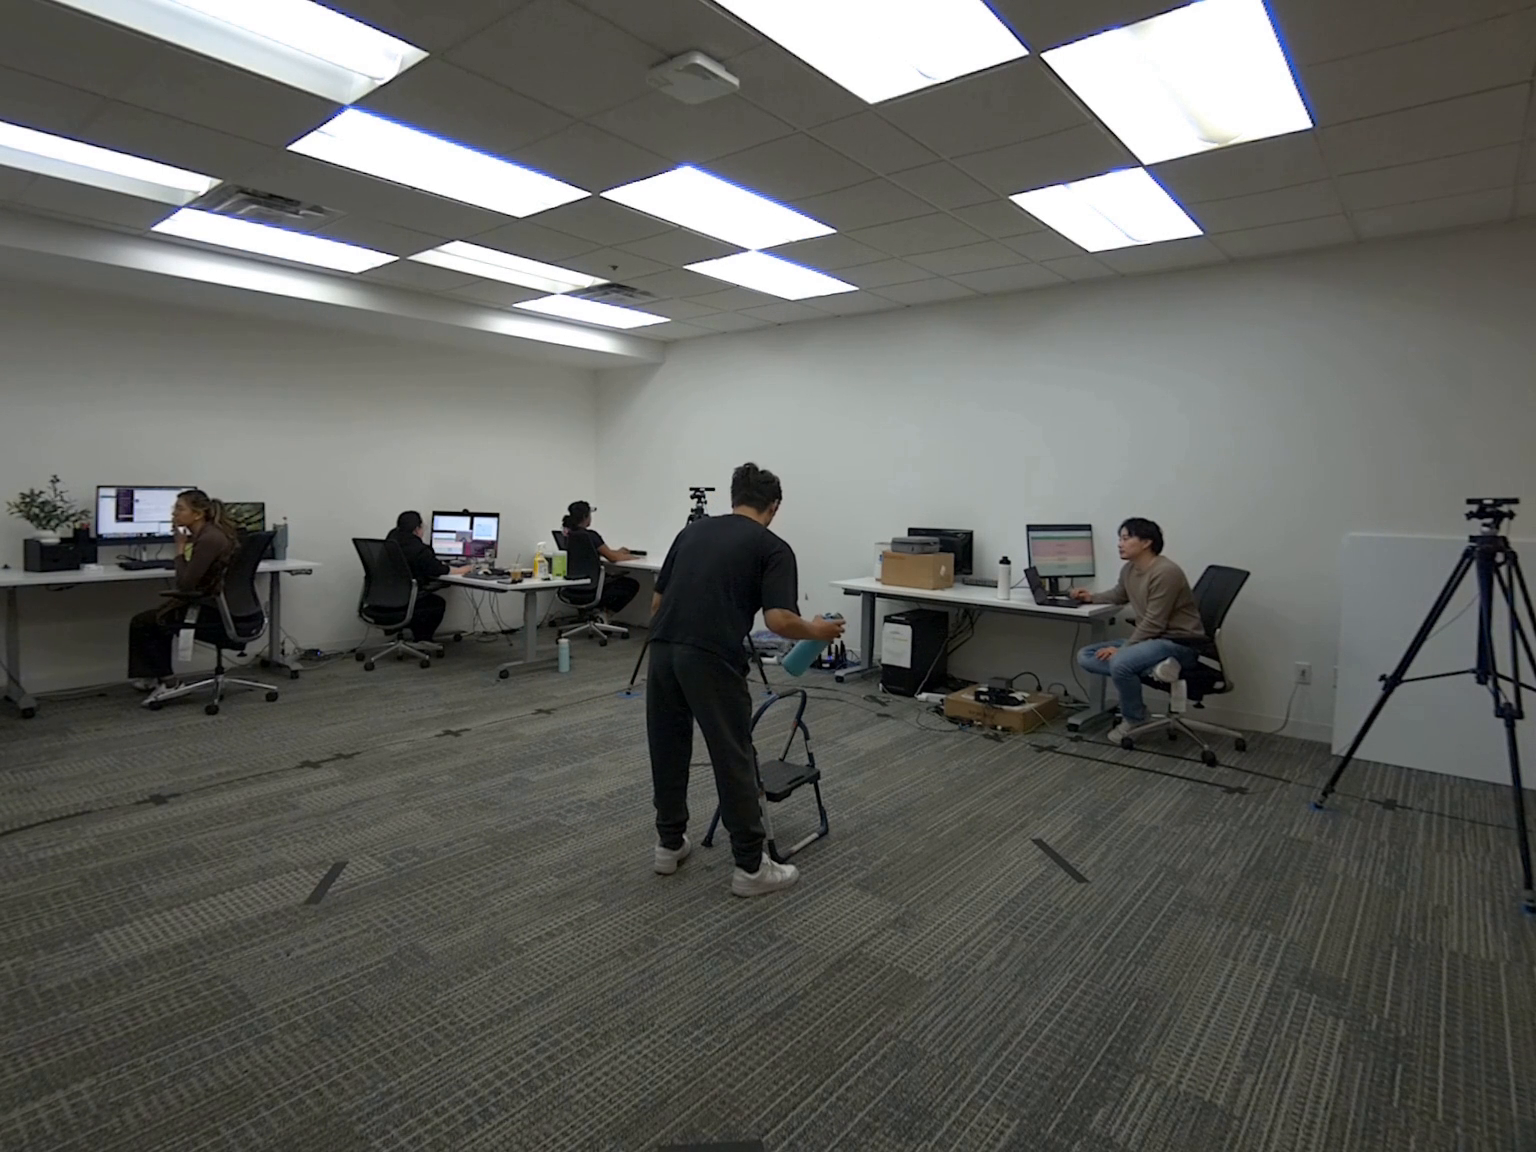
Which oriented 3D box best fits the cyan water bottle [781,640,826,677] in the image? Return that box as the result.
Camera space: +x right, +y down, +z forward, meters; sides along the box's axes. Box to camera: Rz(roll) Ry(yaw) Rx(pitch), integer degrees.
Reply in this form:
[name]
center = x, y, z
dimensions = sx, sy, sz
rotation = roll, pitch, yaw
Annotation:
[cyan water bottle]
center = 0.152, 0.251, 3.140
dimensions = 0.090, 0.283, 0.094
rotation = 32, 22, -17
